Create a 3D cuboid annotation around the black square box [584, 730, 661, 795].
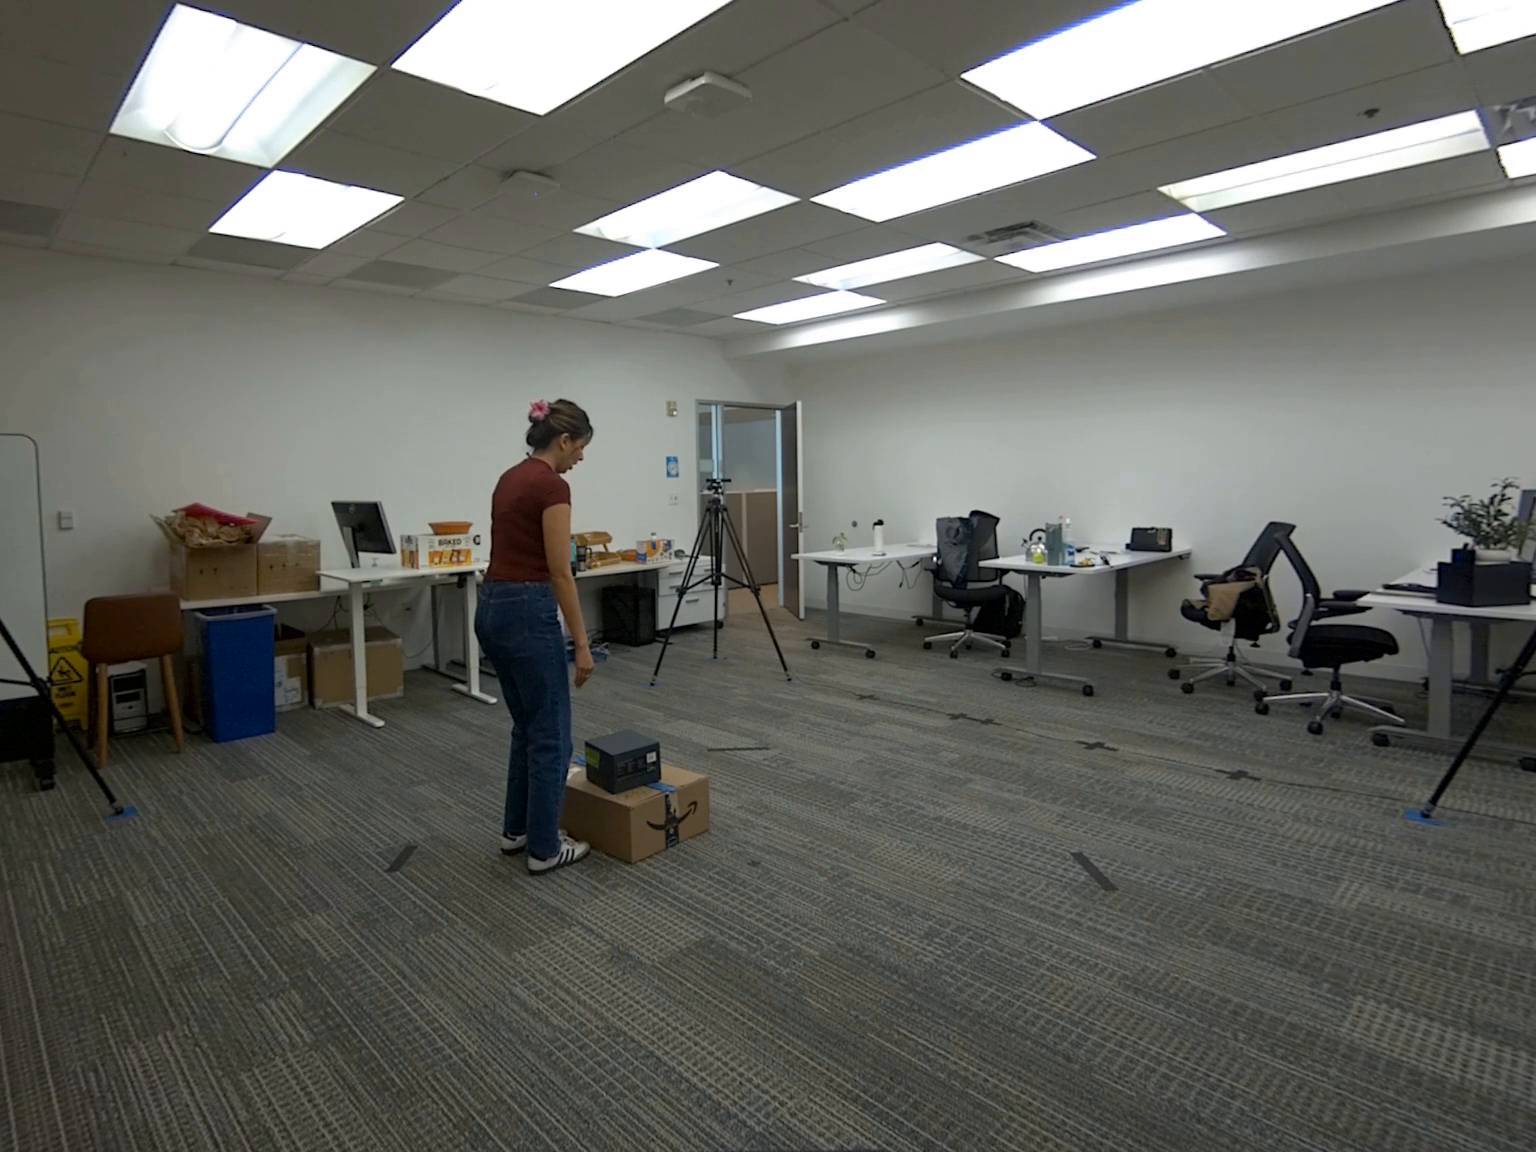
[{"bbox_3d":[-0.574,0.724,3.367,0.212,0.155,0.235,-8,9,-38],"label":"black square box"}]
